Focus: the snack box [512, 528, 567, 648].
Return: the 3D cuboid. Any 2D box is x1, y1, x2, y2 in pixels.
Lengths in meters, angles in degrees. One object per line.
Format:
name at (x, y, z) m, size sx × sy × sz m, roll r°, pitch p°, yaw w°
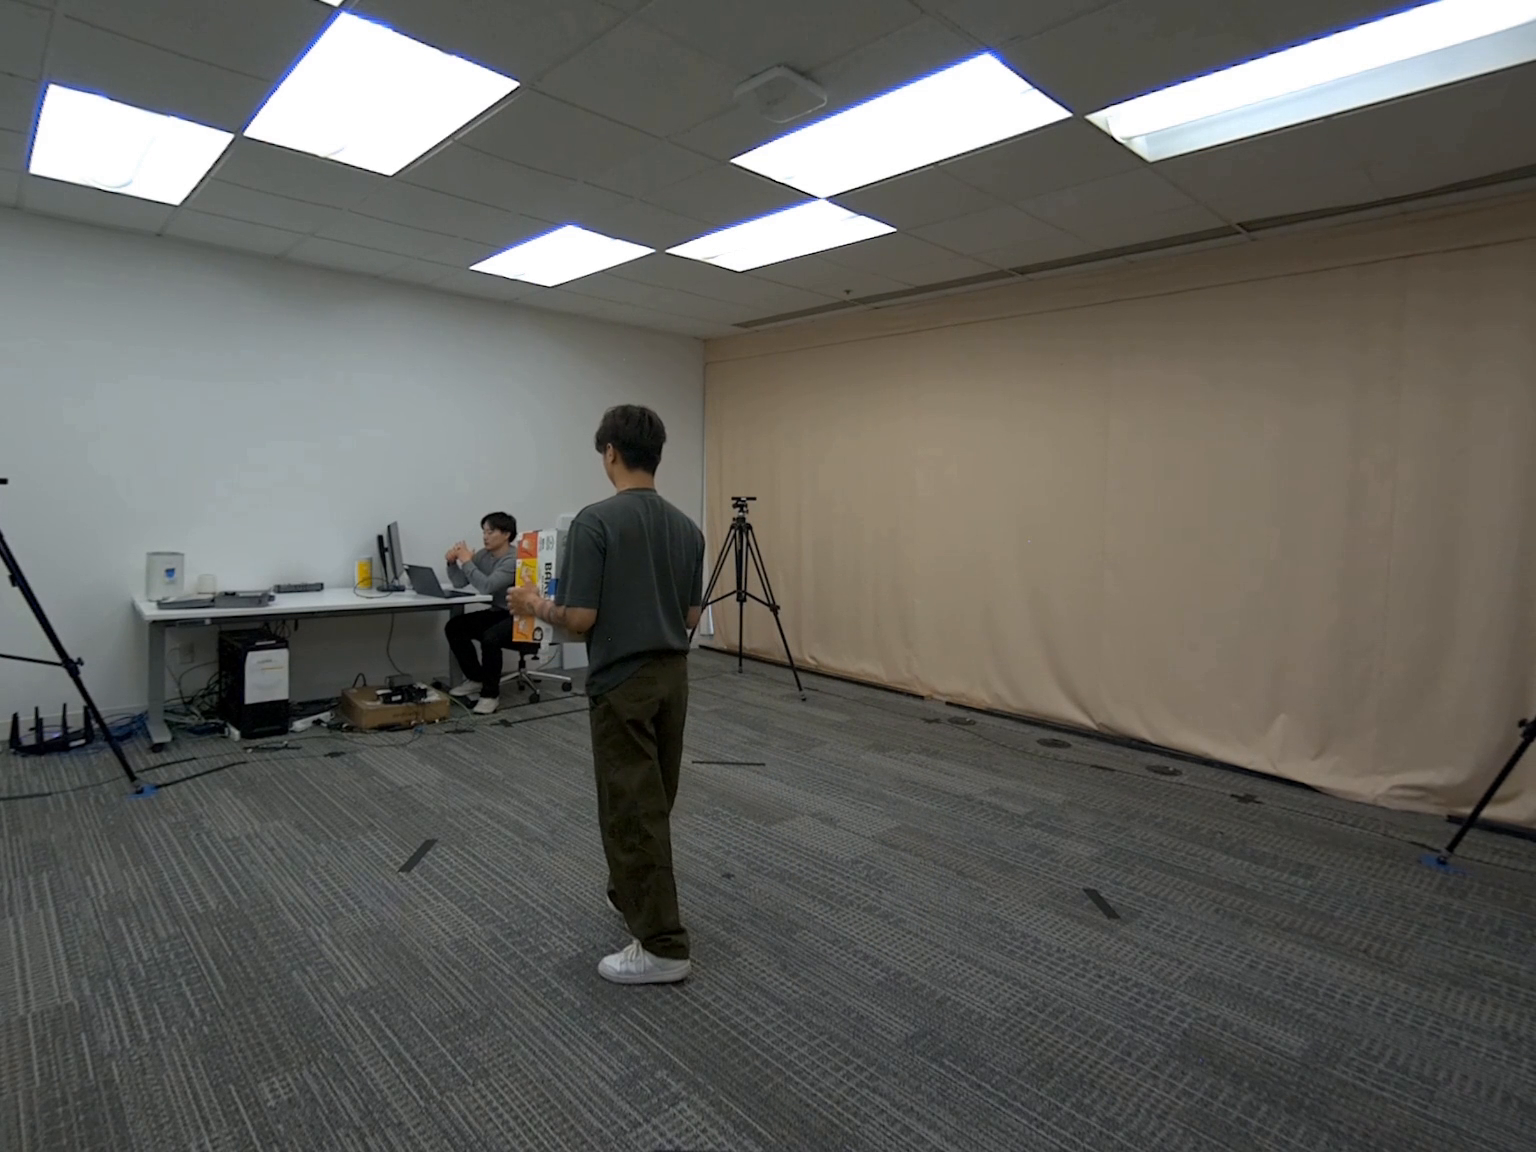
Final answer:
snack box at (-0.589, 0.043, 2.709) m, size 0.210 × 0.341 × 0.394 m, roll -2°, pitch -6°, yaw 41°
